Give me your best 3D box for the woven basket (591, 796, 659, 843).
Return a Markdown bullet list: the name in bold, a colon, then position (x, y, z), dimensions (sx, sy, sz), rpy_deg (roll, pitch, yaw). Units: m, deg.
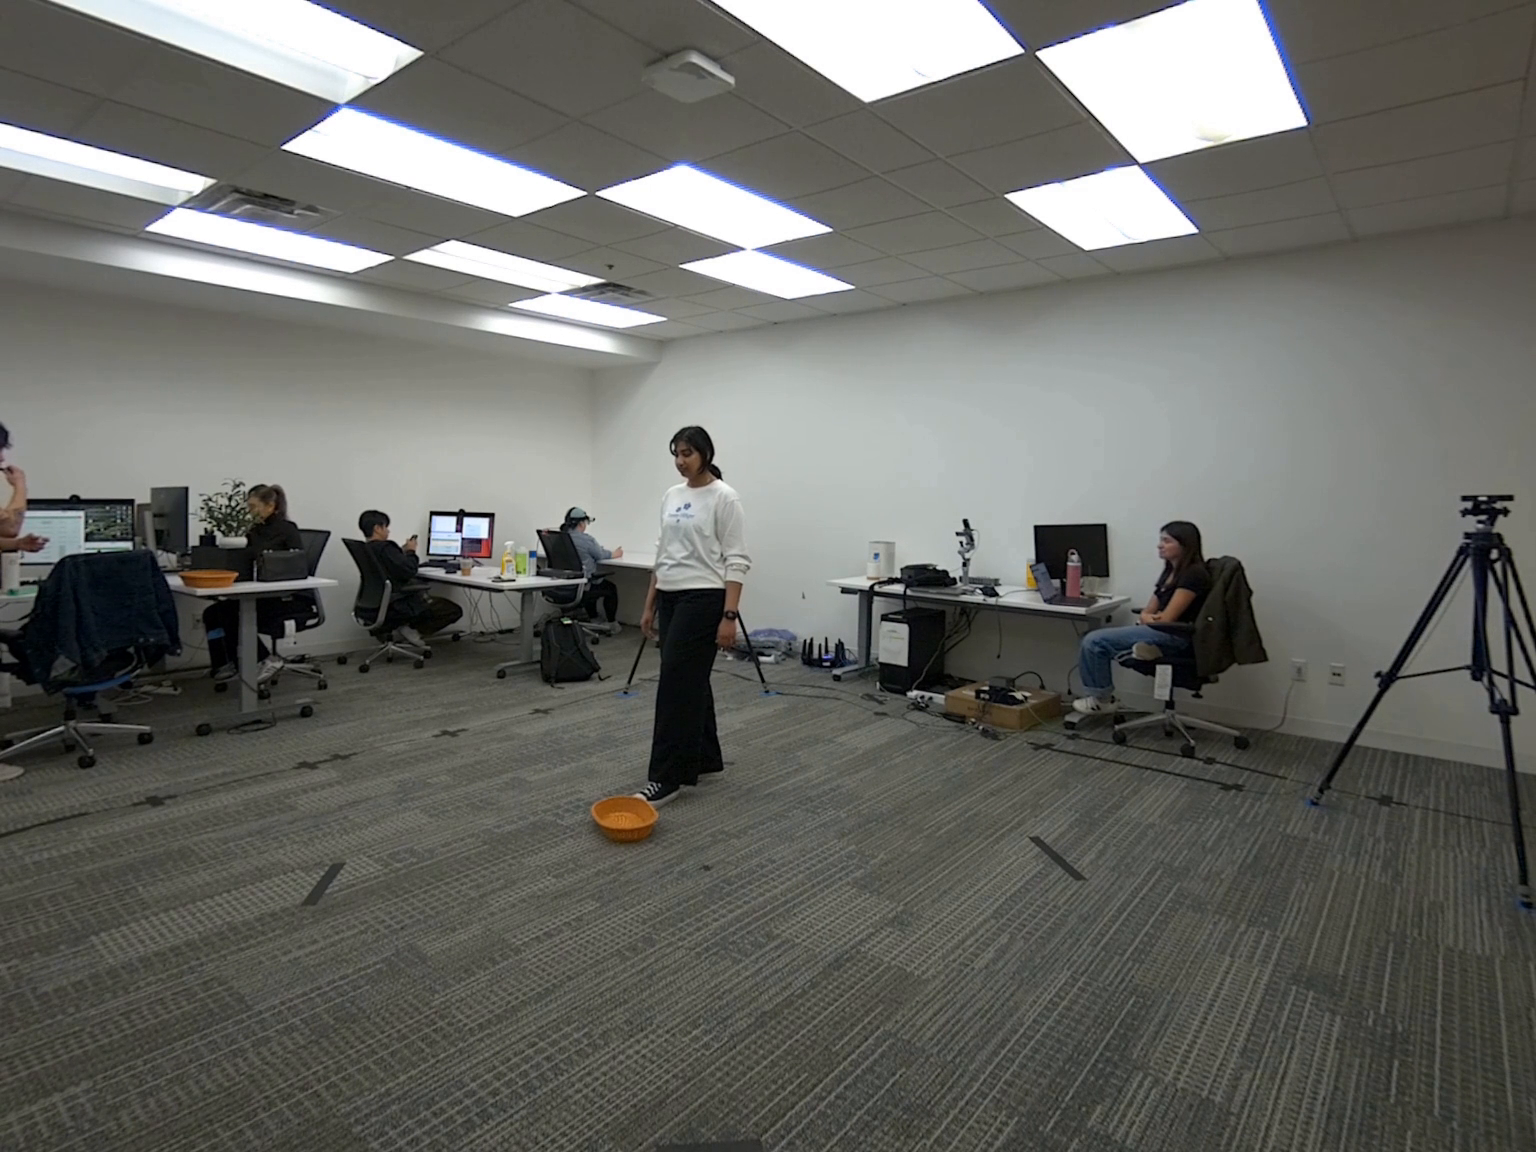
- **woven basket**: position (-0.583, 0.987, 3.463), dimensions (0.248, 0.073, 0.359), rpy_deg (-3, 7, -20)
